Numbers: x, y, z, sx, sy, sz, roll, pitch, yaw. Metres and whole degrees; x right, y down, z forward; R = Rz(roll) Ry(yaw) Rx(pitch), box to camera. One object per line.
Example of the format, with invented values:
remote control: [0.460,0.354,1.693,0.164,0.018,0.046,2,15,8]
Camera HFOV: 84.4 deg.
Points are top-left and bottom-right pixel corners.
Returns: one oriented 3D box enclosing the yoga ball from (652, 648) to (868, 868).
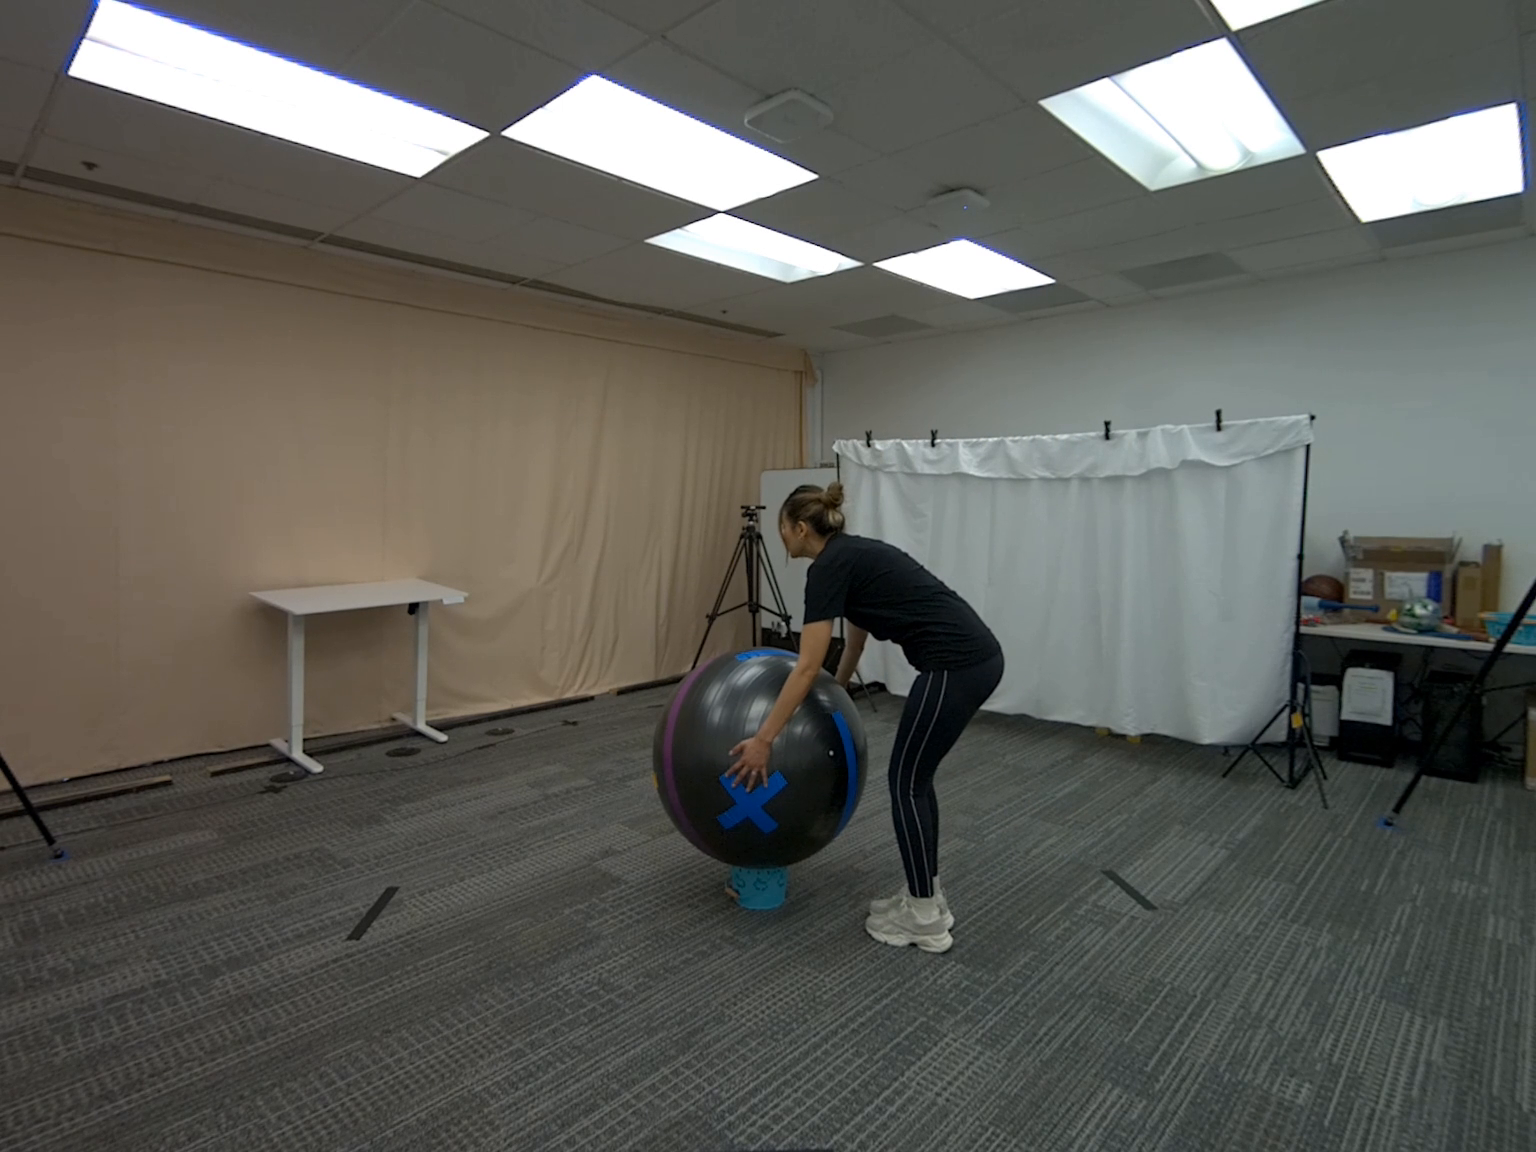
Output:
yoga ball: [-0.029,0.631,2.974,0.757,0.756,0.760,0,4,-2]
